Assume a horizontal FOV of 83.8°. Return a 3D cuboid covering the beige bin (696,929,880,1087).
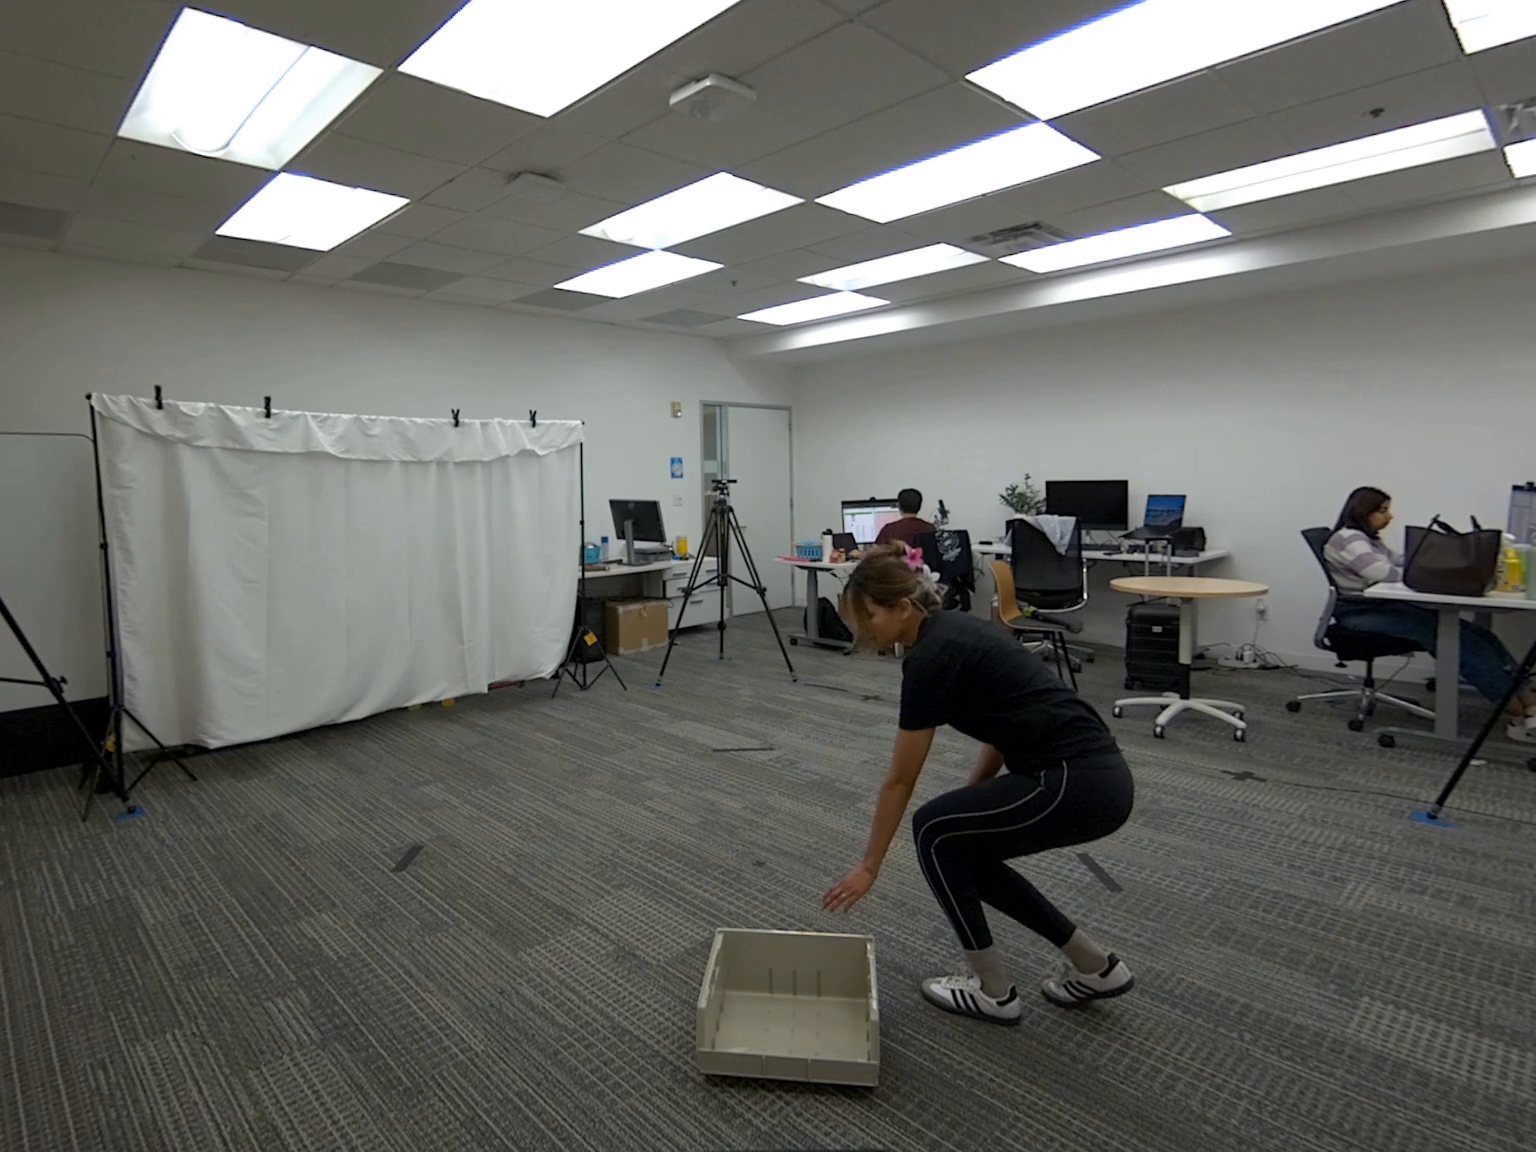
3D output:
[{"bbox_3d":[0.065,1.078,2.106,0.425,0.188,0.376,-1,5,6],"label":"beige bin"}]
